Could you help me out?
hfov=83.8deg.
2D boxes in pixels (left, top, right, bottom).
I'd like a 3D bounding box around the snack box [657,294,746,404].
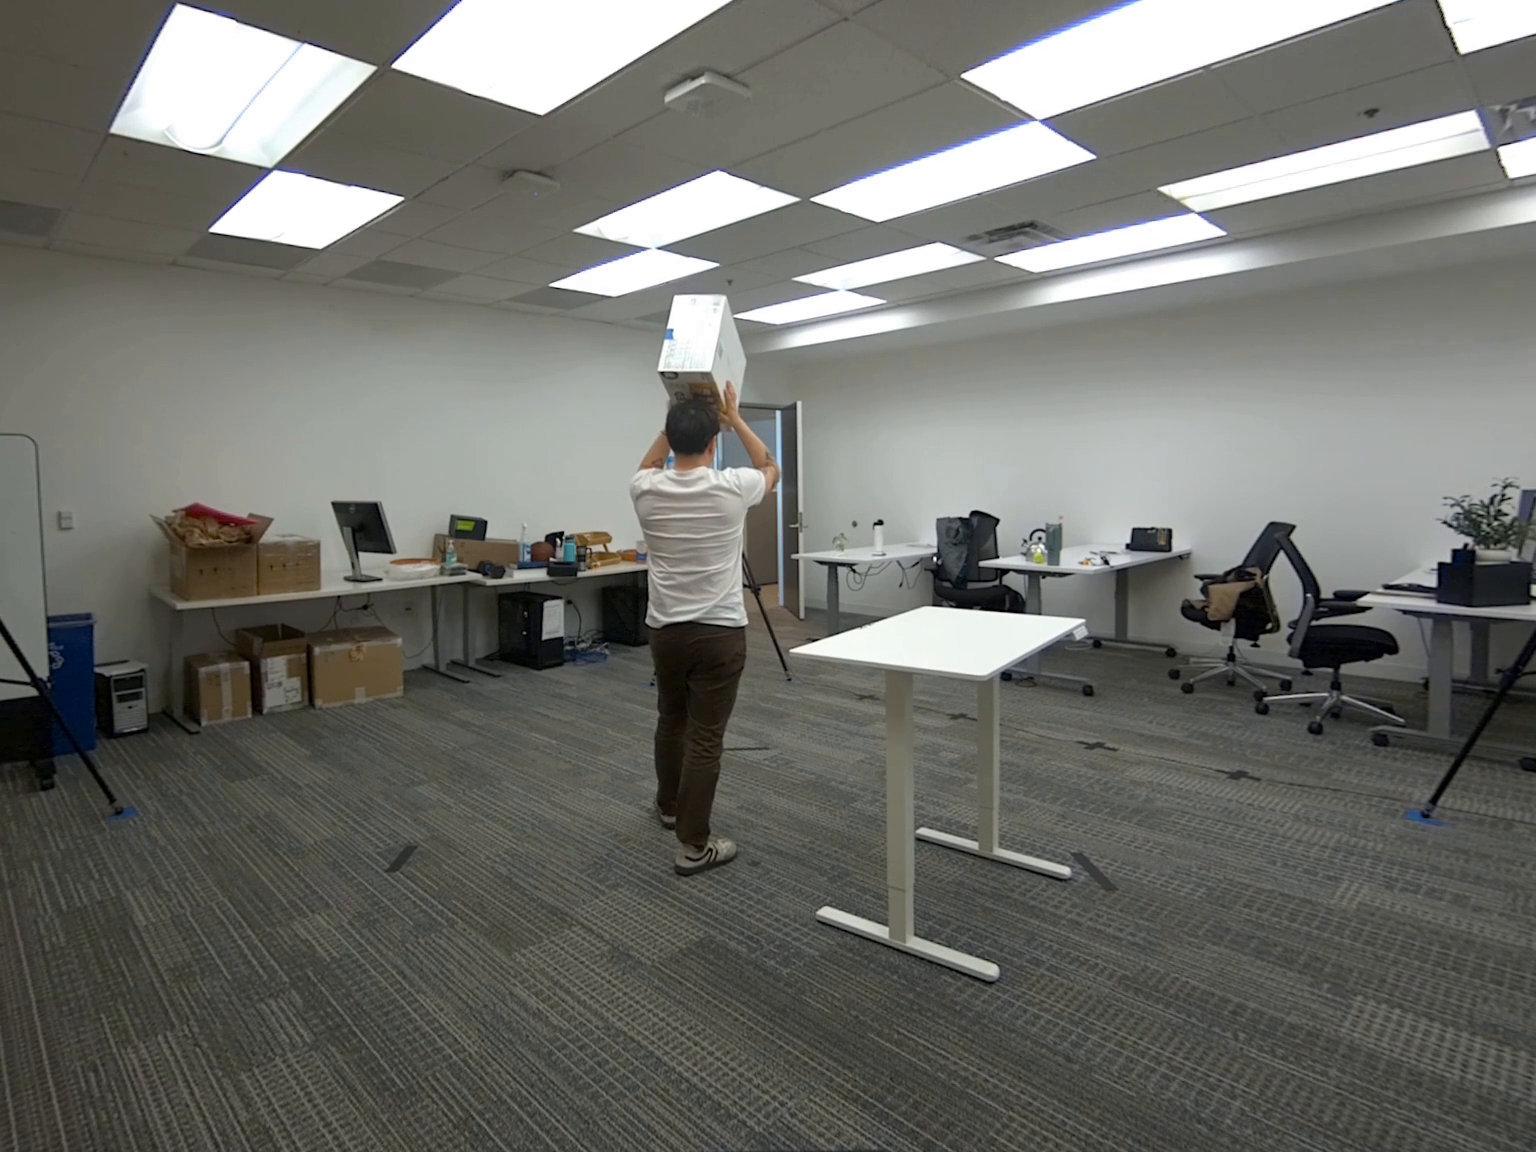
[{"bbox_3d":[-0.245,-0.801,3.254,0.208,0.346,0.393,3,-22,12],"label":"snack box"}]
